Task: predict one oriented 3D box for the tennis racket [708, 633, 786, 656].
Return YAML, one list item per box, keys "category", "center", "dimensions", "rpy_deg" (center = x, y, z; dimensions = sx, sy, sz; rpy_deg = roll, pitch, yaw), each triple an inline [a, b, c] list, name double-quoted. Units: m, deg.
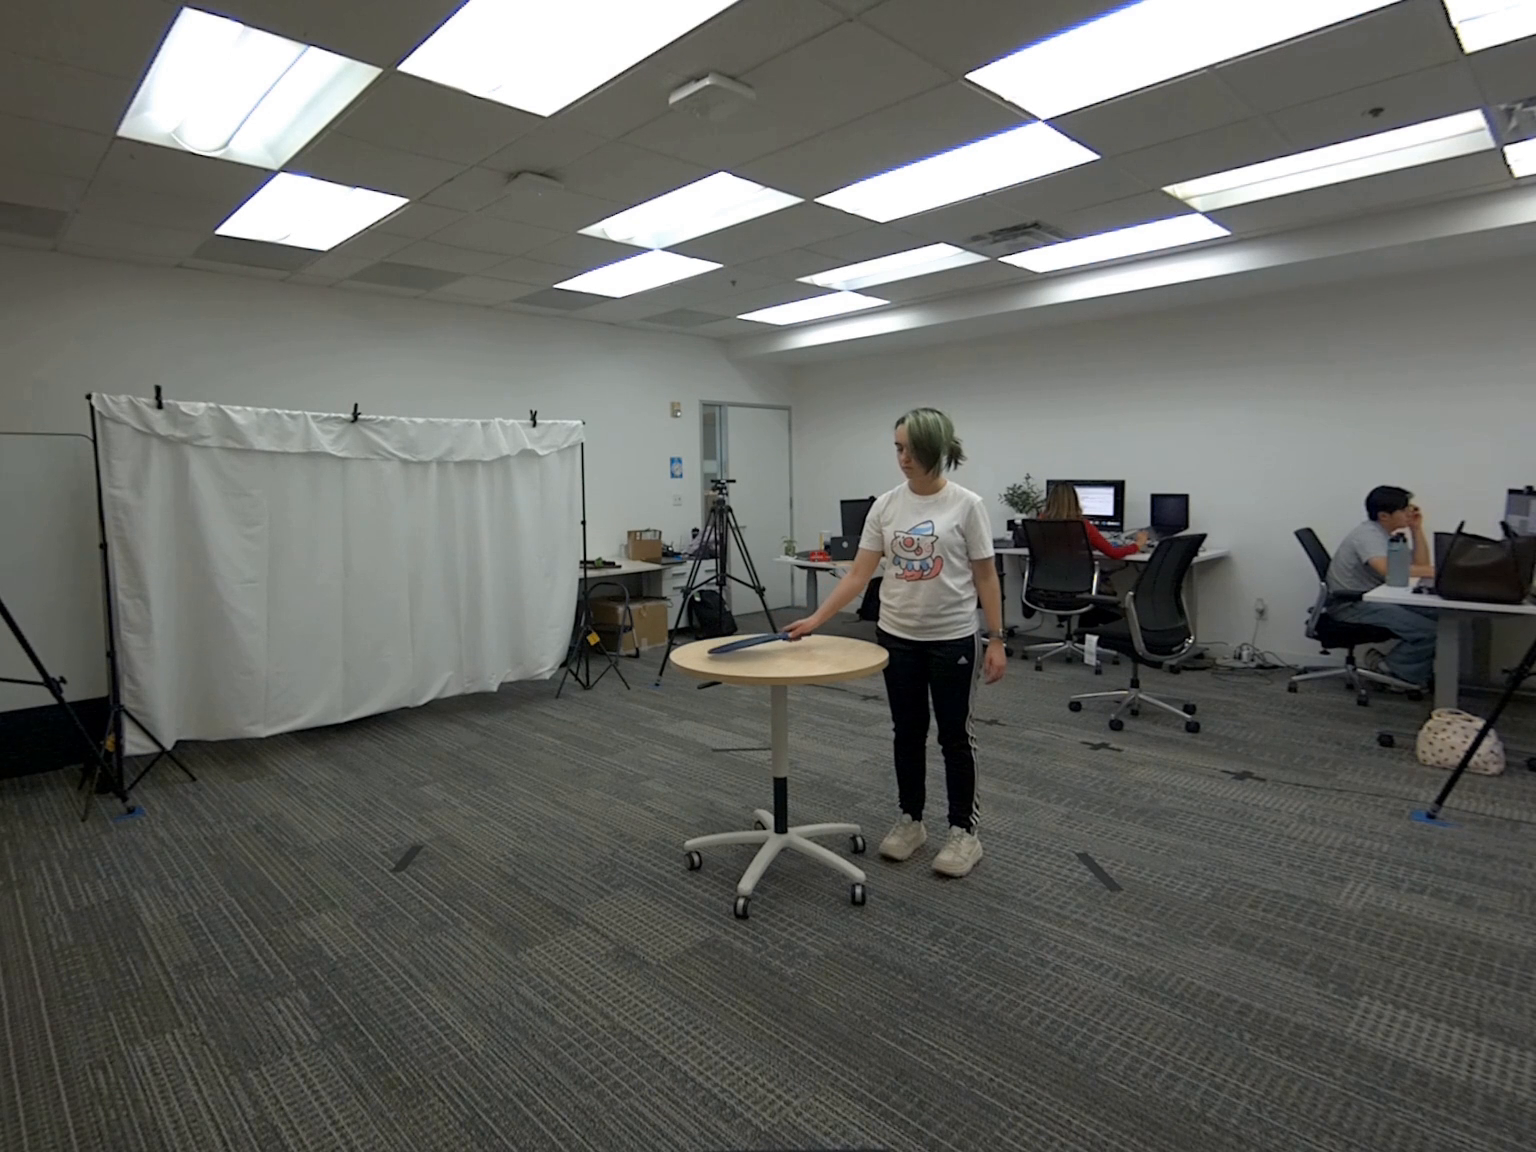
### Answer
- category: "tennis racket"
  center: [-0.030, 0.230, 3.005]
  dimensions: [0.422, 0.032, 0.216]
  rpy_deg: [-6, -12, -32]
